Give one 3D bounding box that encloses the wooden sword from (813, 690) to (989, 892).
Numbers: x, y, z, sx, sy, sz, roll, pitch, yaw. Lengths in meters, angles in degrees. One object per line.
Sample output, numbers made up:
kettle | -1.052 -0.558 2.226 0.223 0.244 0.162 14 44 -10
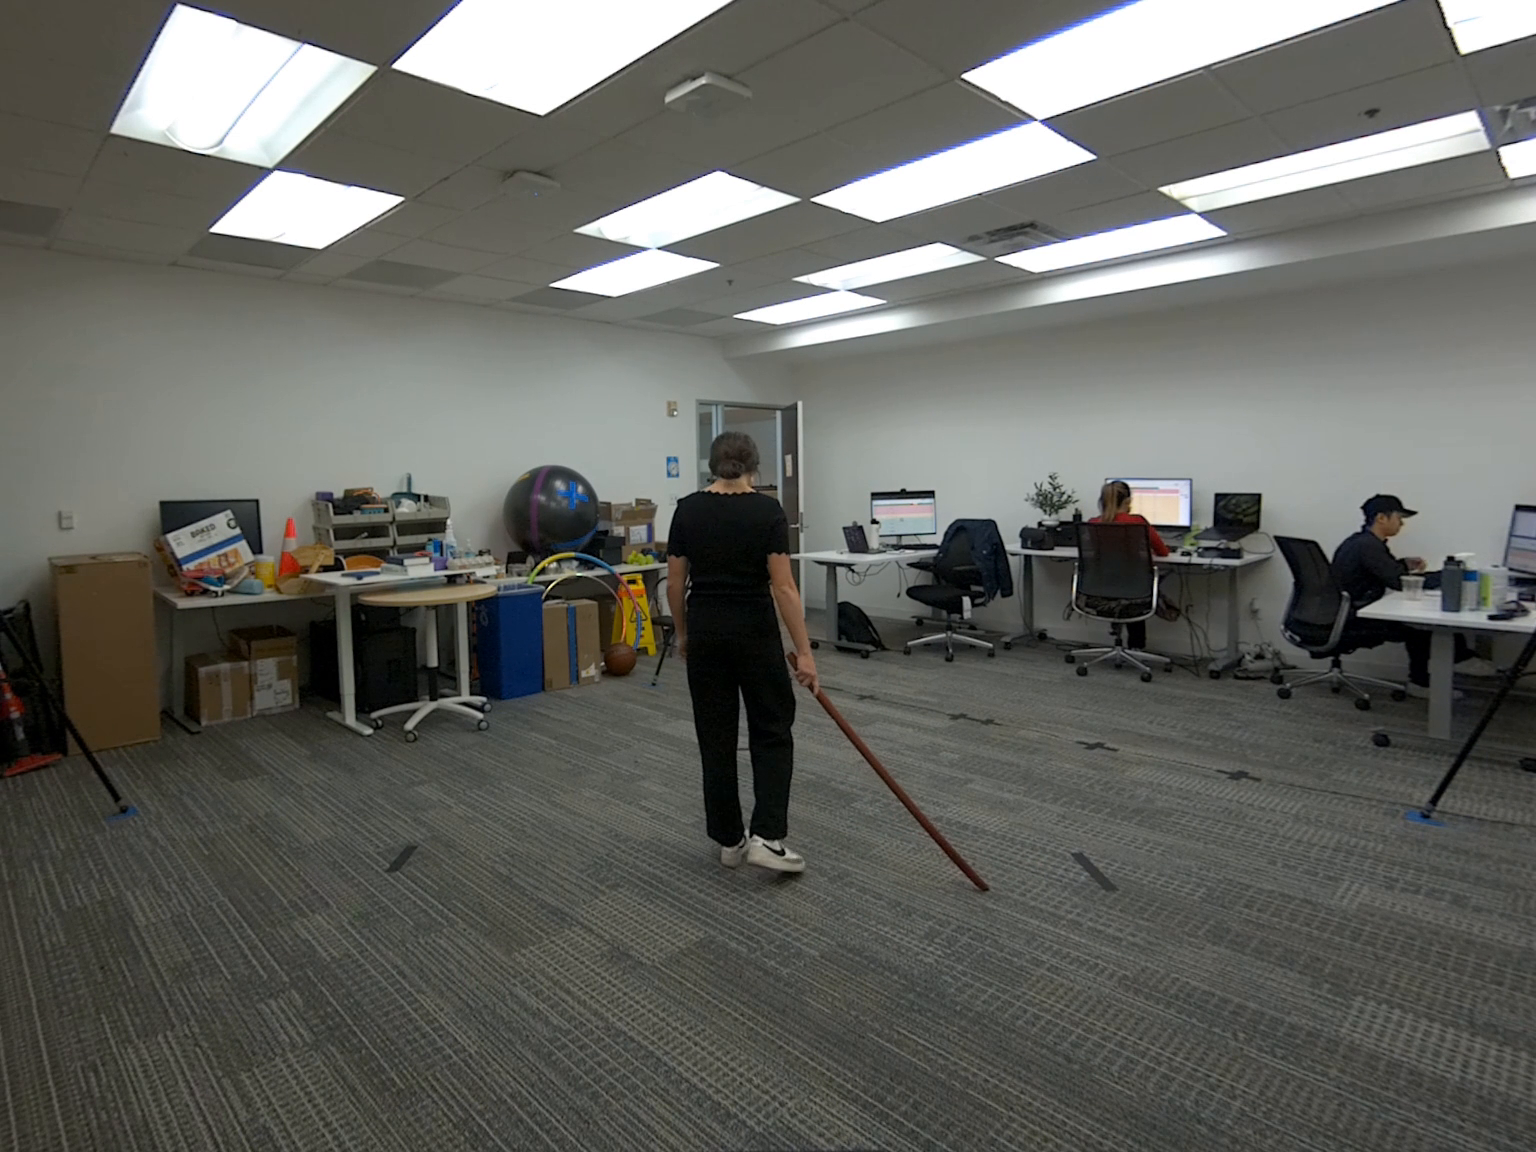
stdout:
wooden sword | 0.404 0.683 2.921 0.024 1.030 0.051 -40 -5 -25
